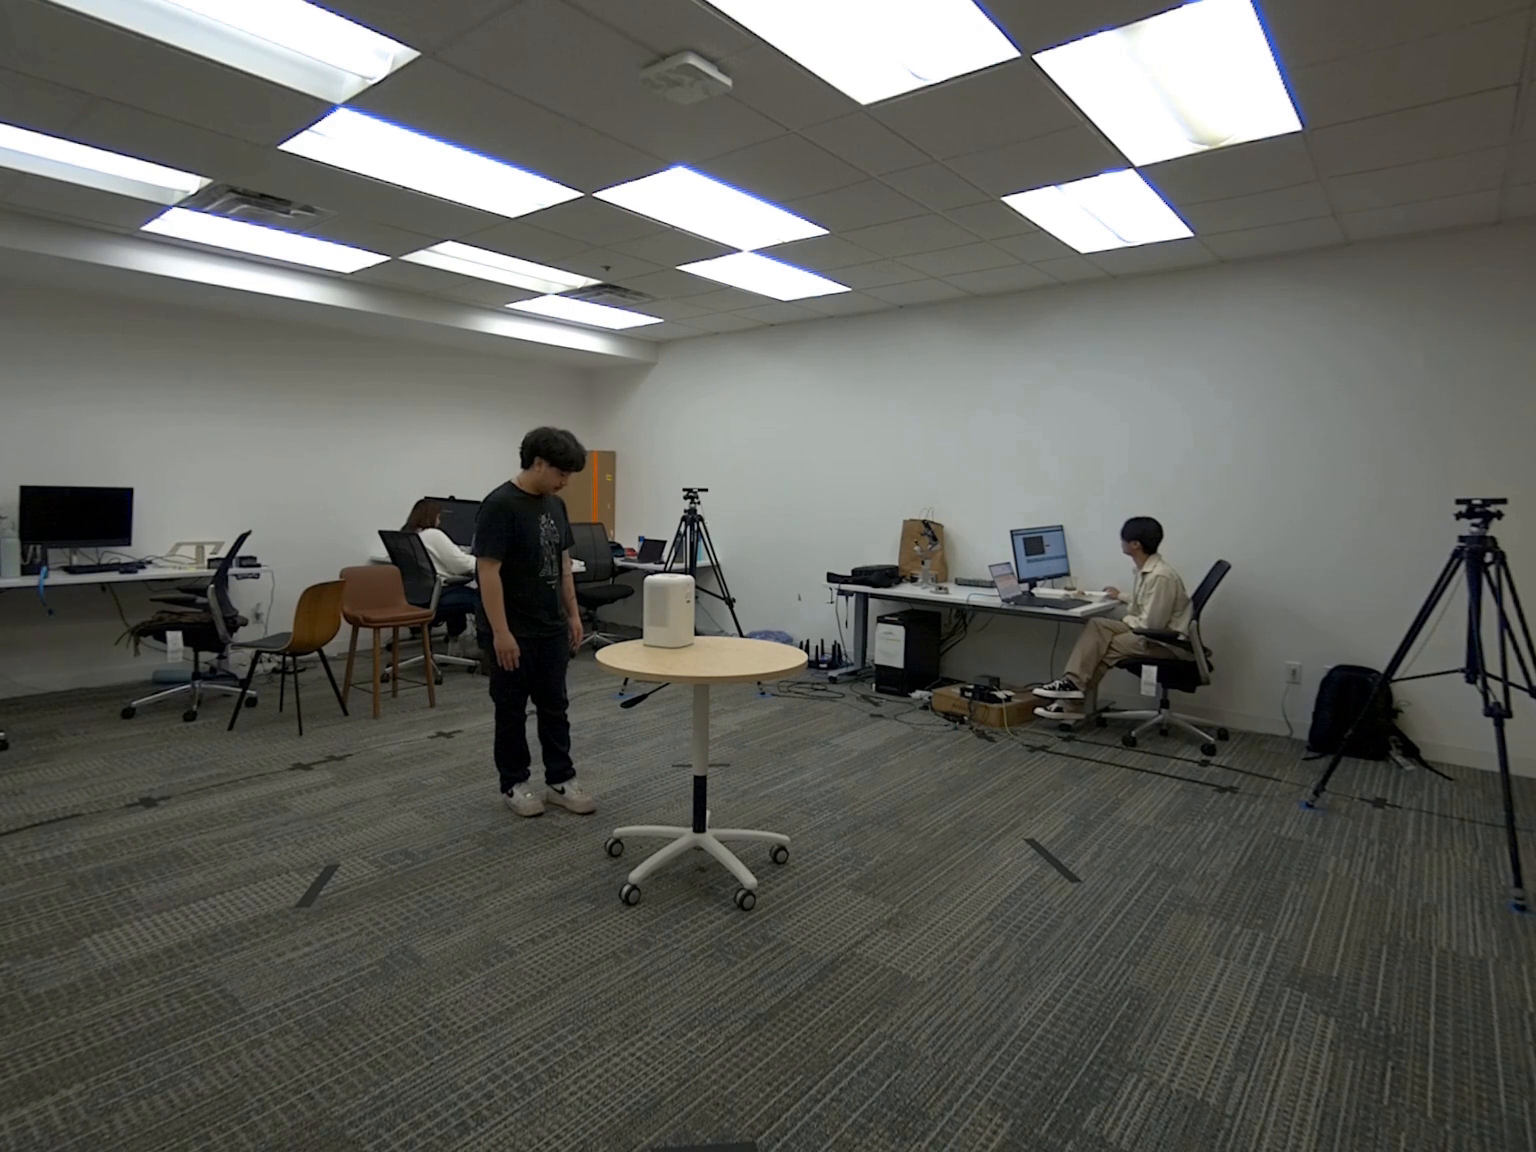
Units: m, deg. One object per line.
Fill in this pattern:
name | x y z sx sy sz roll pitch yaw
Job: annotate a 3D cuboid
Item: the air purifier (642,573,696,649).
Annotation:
air purifier | -0.391 0.125 3.267 0.176 0.265 0.167 1 3 25
